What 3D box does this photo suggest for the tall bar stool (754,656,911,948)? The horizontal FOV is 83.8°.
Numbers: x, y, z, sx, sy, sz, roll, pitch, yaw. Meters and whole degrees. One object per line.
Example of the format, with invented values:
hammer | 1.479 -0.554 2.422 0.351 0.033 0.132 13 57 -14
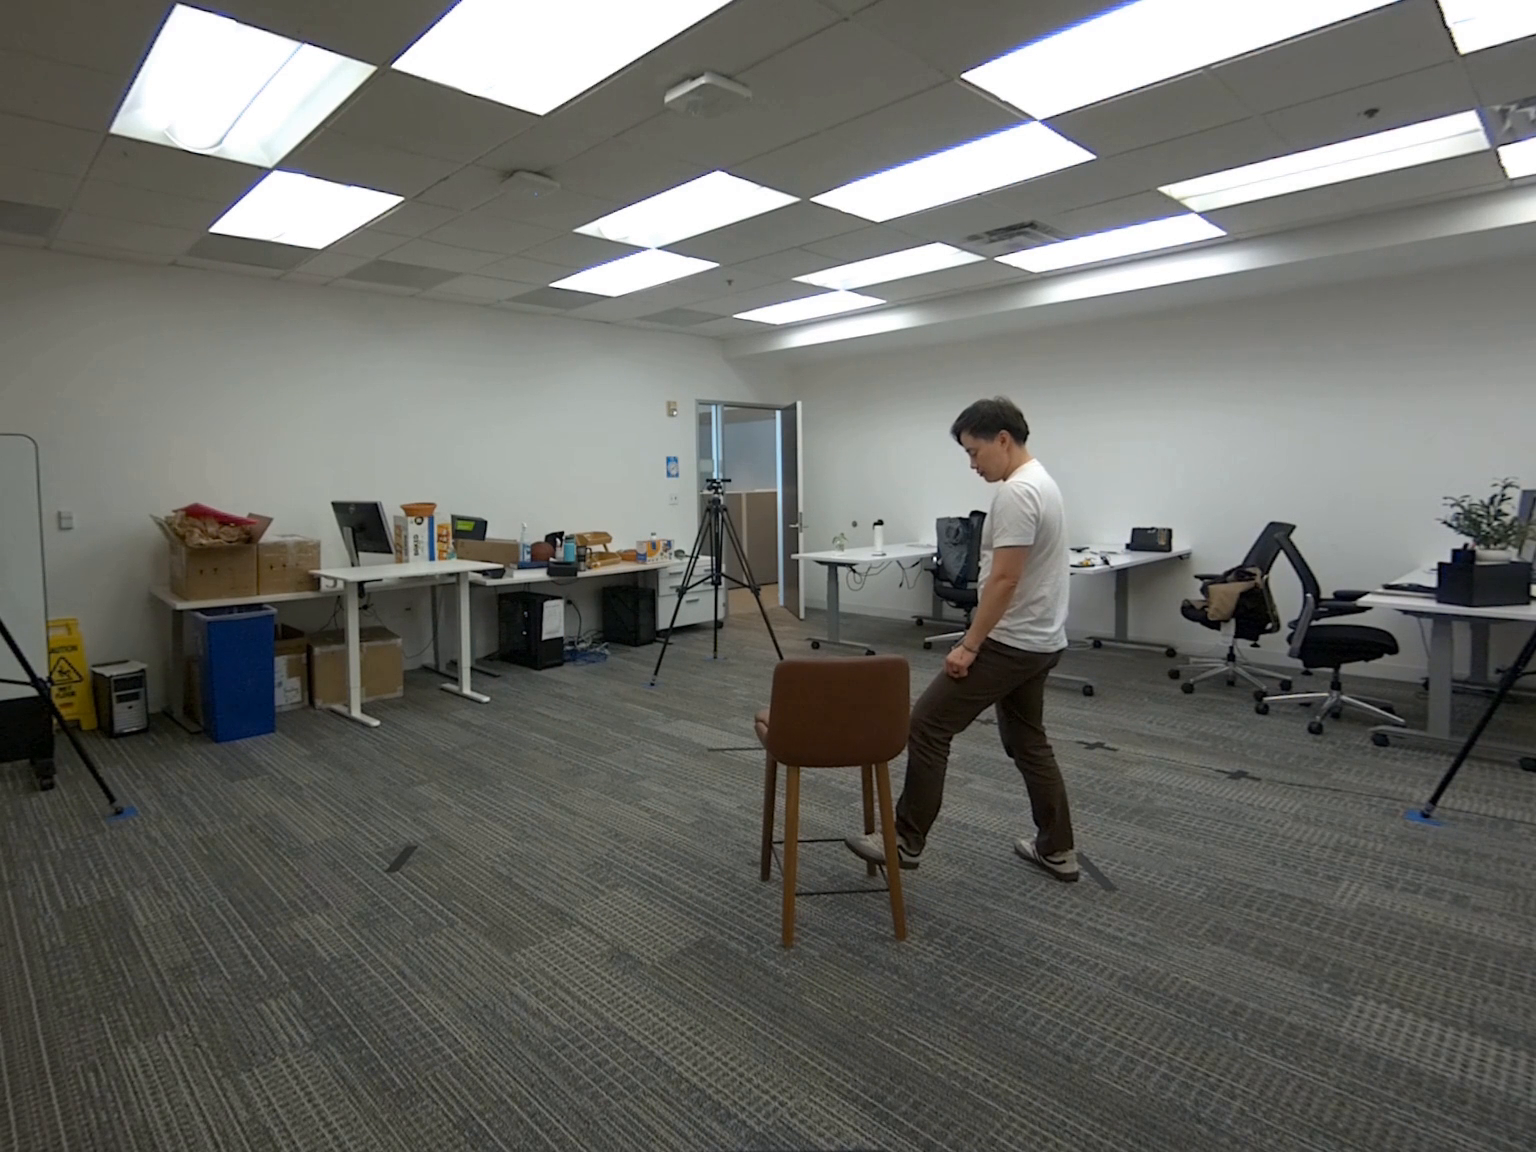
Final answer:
tall bar stool | 0.198 0.646 2.744 0.454 0.885 0.472 -2 6 -5
